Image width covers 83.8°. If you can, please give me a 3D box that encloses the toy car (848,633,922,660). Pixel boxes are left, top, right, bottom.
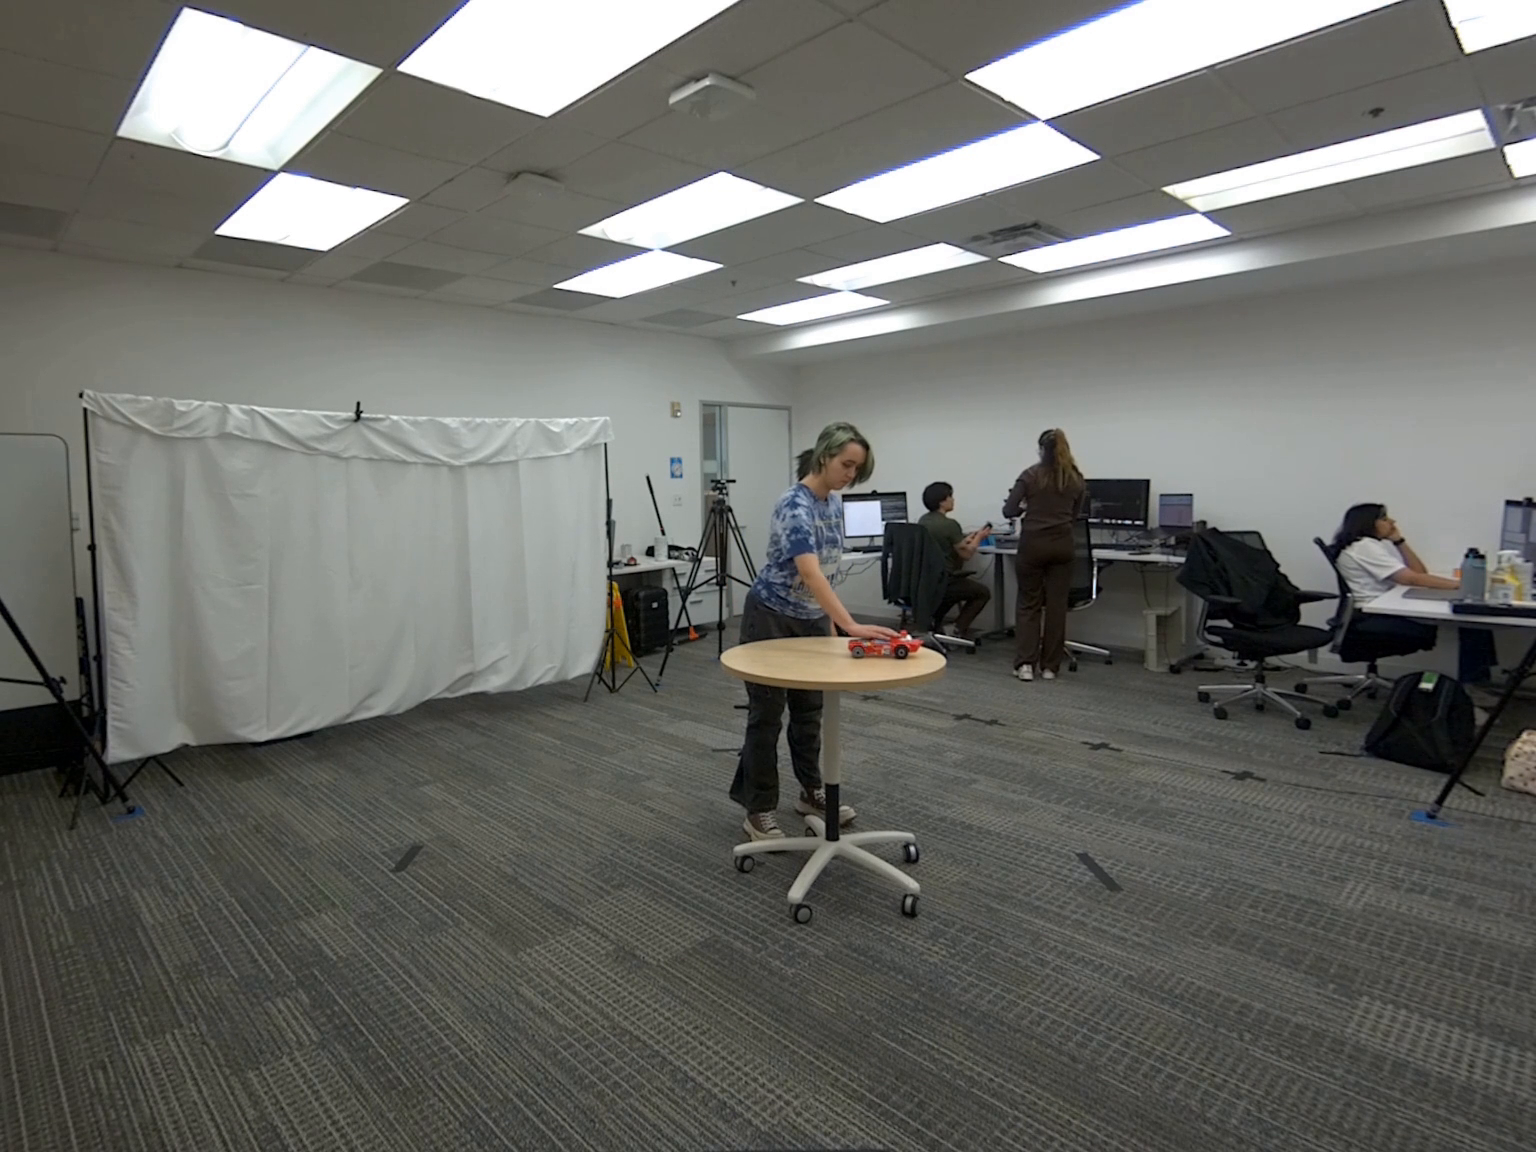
[{"bbox_3d":[0.410,0.244,2.940,0.256,0.083,0.129,-12,3,10],"label":"toy car"}]
